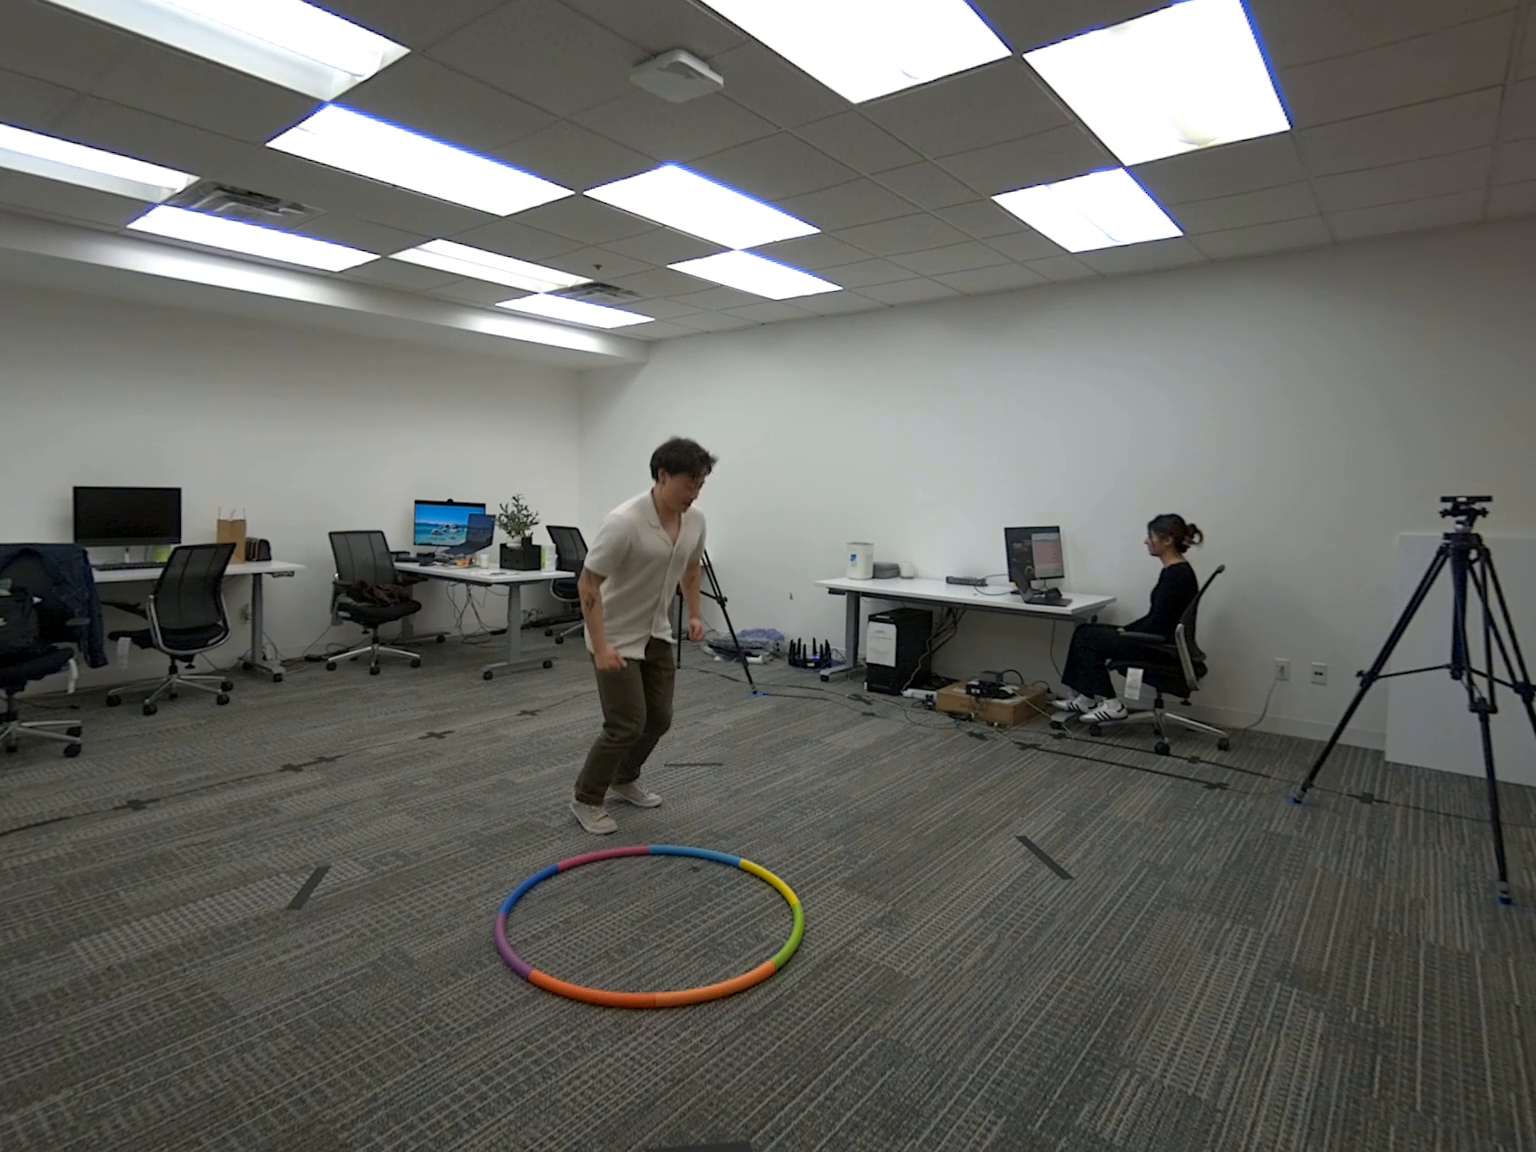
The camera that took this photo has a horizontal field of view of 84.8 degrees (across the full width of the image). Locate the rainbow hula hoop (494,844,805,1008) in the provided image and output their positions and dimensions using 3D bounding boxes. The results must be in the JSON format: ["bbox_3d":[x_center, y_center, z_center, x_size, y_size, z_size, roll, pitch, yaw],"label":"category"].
[{"bbox_3d":[-0.383,1.070,2.750,0.978,0.035,0.983,1,5,-2],"label":"rainbow hula hoop"}]
